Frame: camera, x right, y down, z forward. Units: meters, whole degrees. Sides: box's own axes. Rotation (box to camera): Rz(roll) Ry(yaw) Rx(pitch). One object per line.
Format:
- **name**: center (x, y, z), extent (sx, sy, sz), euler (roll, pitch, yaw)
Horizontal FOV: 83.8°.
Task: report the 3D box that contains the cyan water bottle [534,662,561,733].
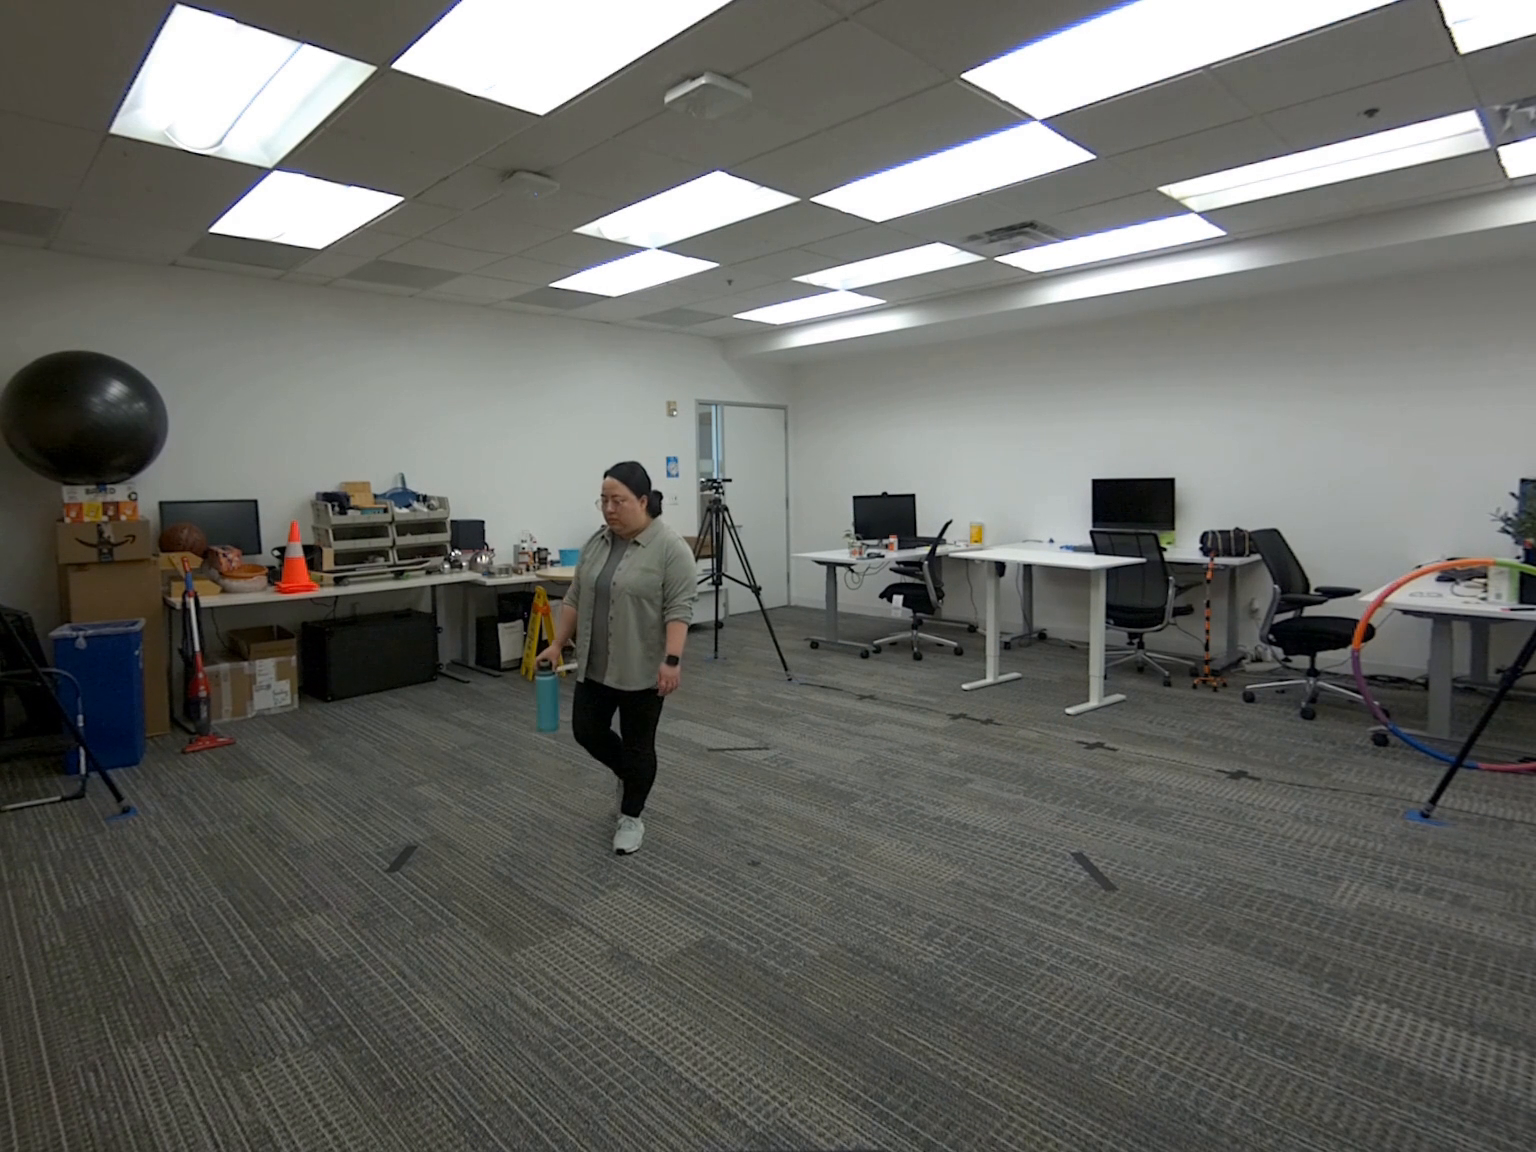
- **cyan water bottle**: center (-0.864, 0.466, 3.382), extent (0.092, 0.281, 0.093), euler (-2, 9, -1)
